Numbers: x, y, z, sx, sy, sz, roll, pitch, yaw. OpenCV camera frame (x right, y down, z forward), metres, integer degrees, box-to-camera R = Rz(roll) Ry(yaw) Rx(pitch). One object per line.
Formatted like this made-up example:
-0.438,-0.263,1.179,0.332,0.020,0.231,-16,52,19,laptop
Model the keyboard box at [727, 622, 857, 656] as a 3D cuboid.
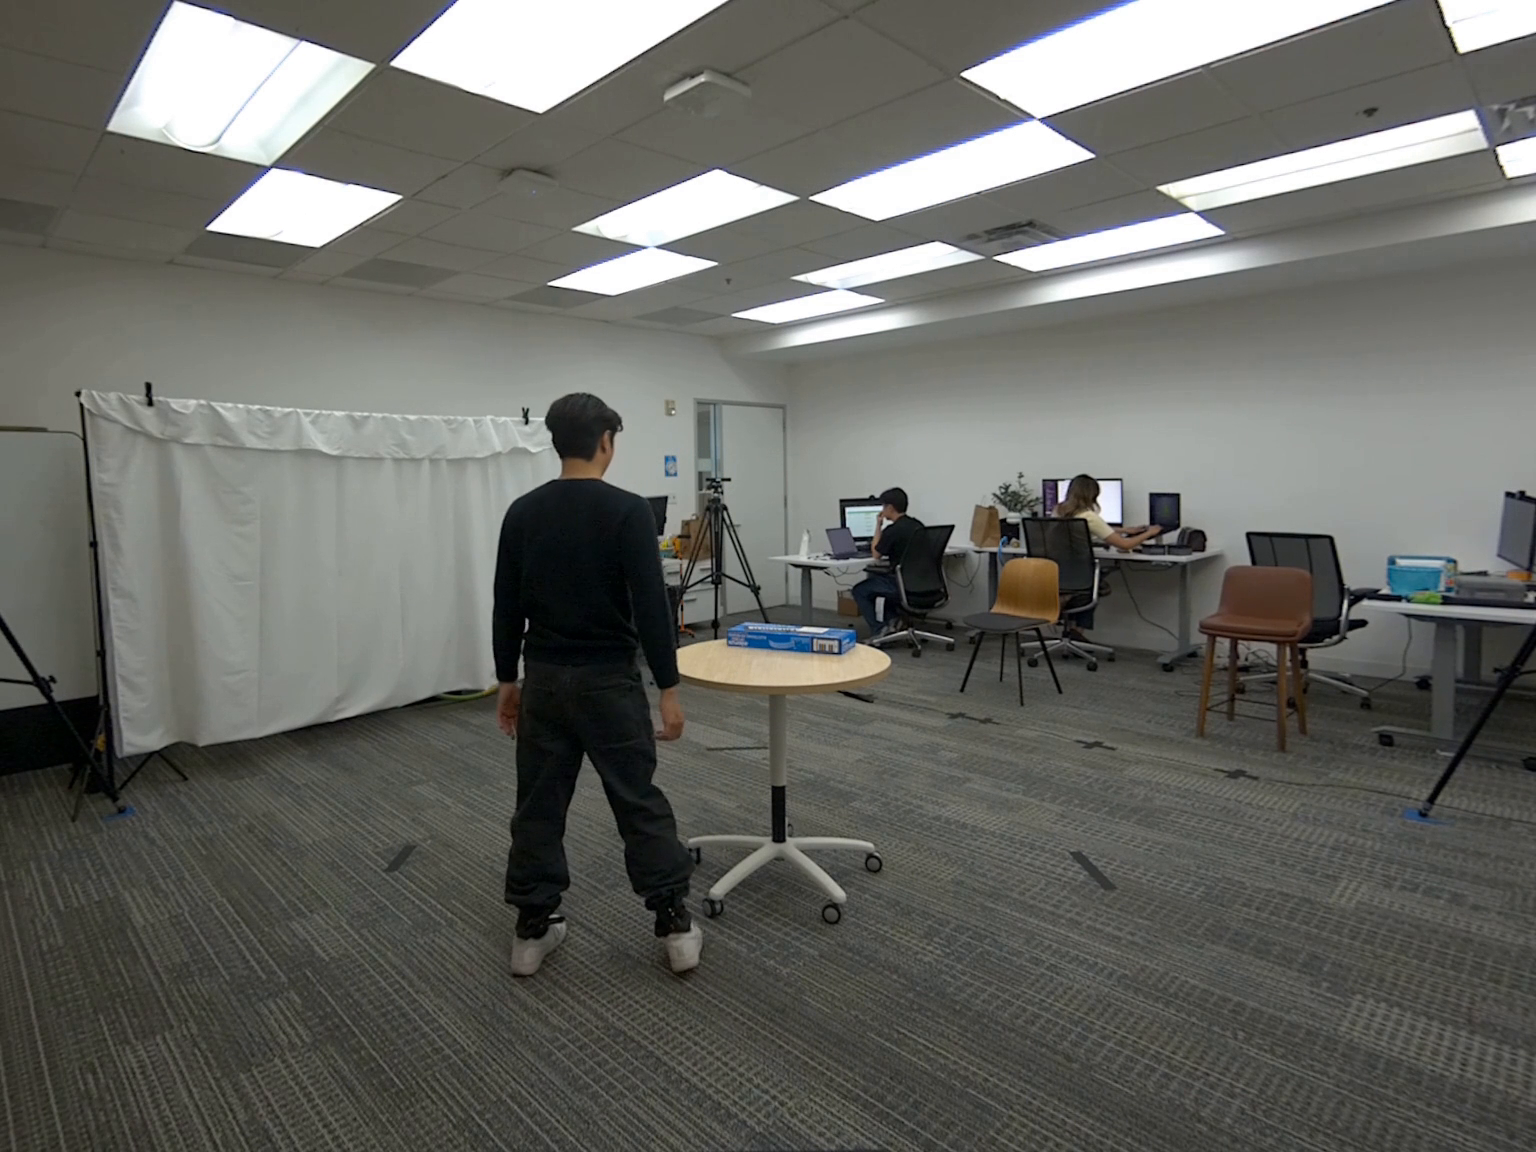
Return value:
0.088,0.228,3.110,0.447,0.059,0.173,3,8,25,keyboard box
